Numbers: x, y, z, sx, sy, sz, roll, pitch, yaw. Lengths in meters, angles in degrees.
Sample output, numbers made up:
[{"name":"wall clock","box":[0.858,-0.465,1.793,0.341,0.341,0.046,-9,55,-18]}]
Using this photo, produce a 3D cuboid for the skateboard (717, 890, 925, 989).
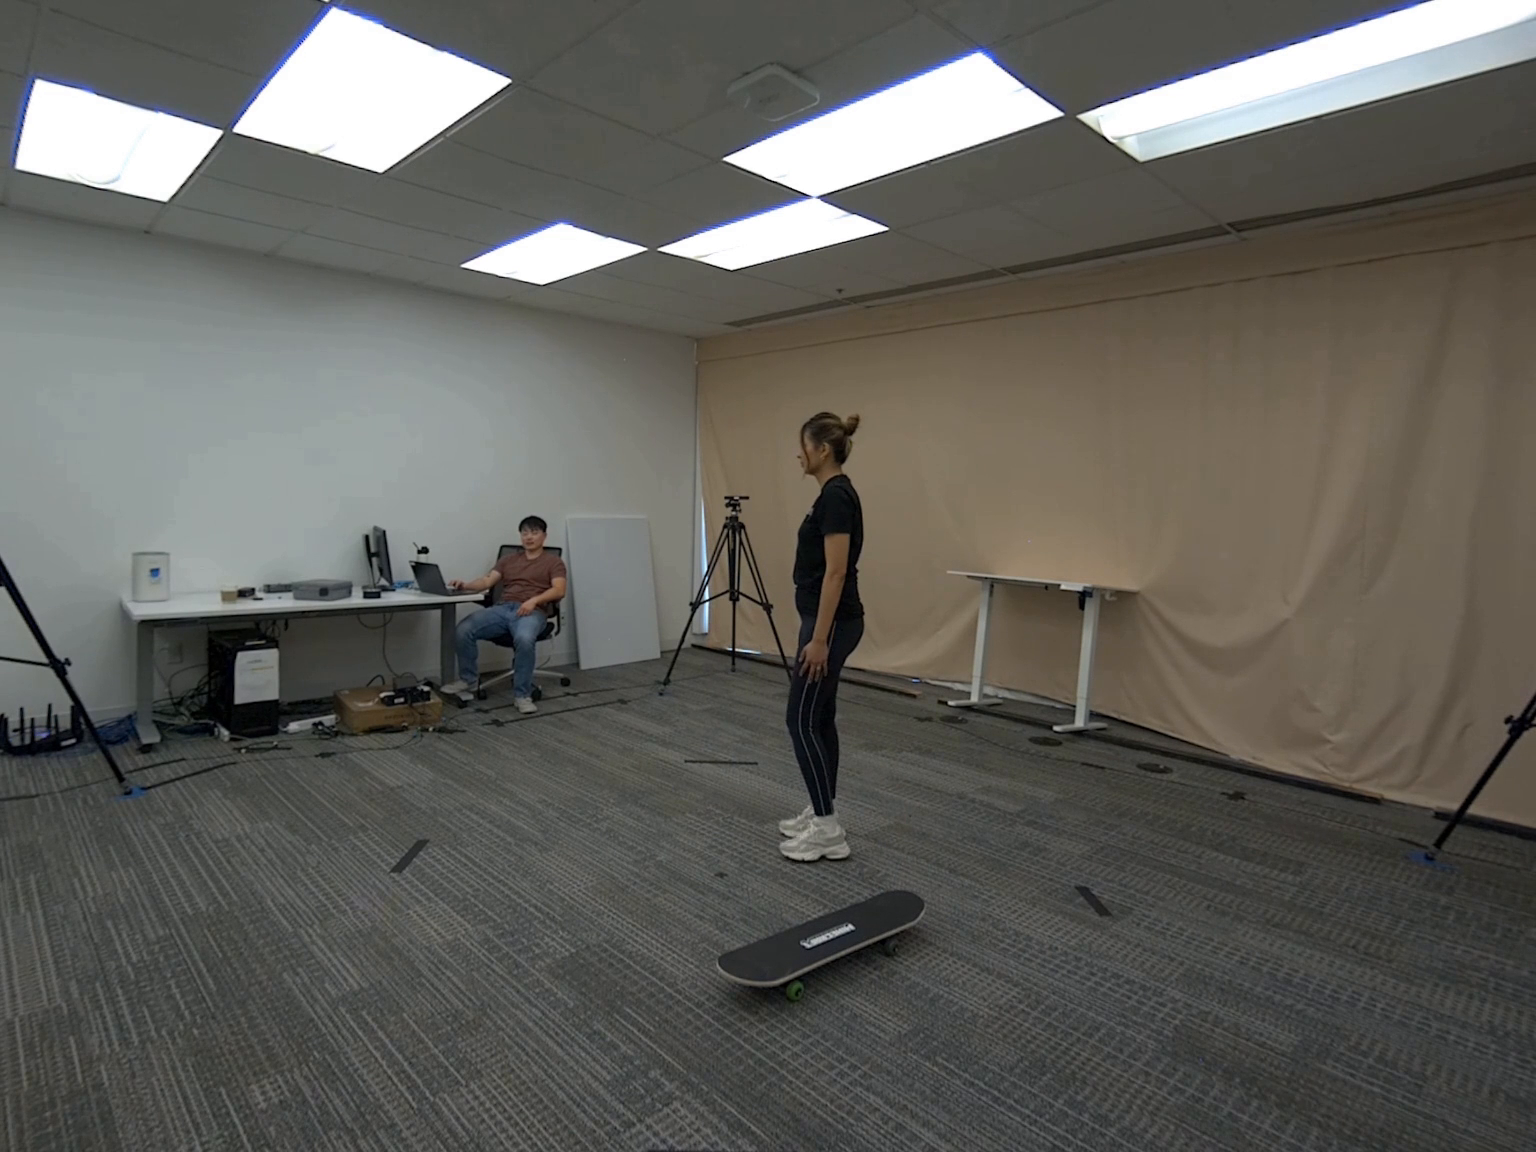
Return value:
[{"name":"skateboard","box":[0.177,1.110,2.521,0.768,0.110,0.198,-3,6,-38]}]
